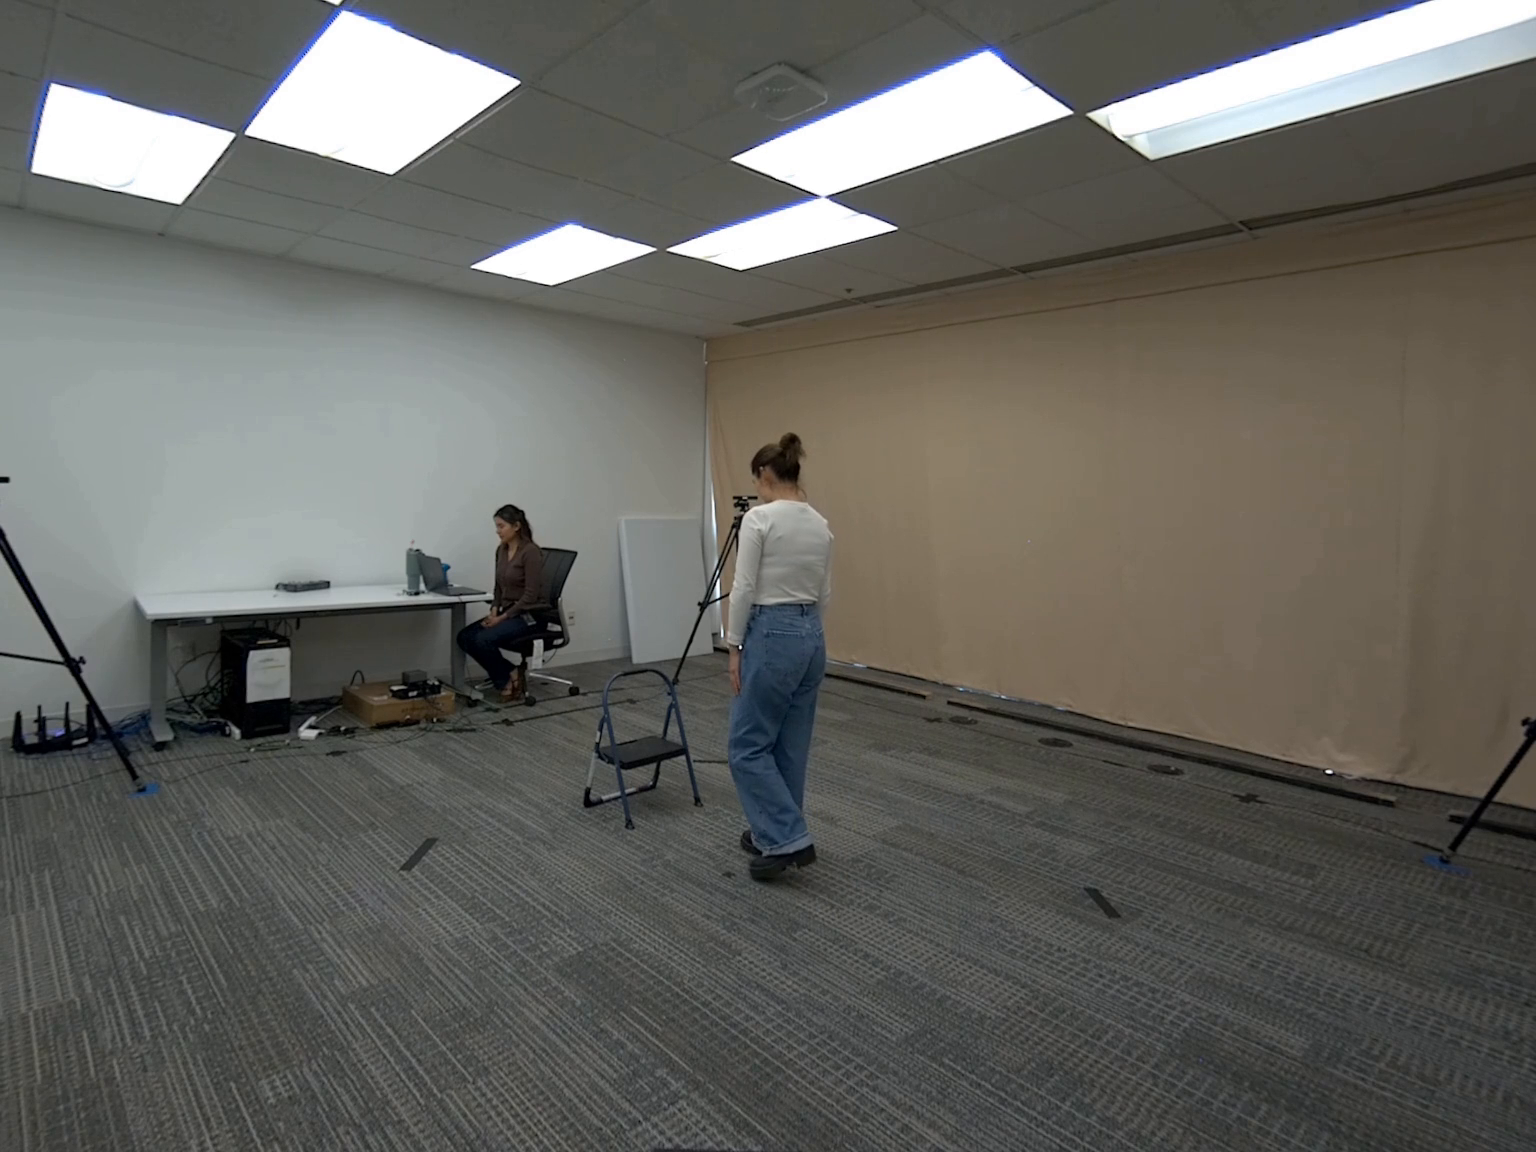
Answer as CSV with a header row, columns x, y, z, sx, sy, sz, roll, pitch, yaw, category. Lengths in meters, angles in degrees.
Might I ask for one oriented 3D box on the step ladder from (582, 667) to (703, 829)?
x,y,z,sx,sy,sz,roll,pitch,yaw,category
-0.561,0.733,3.762,0.358,0.605,0.421,5,4,43,step ladder
